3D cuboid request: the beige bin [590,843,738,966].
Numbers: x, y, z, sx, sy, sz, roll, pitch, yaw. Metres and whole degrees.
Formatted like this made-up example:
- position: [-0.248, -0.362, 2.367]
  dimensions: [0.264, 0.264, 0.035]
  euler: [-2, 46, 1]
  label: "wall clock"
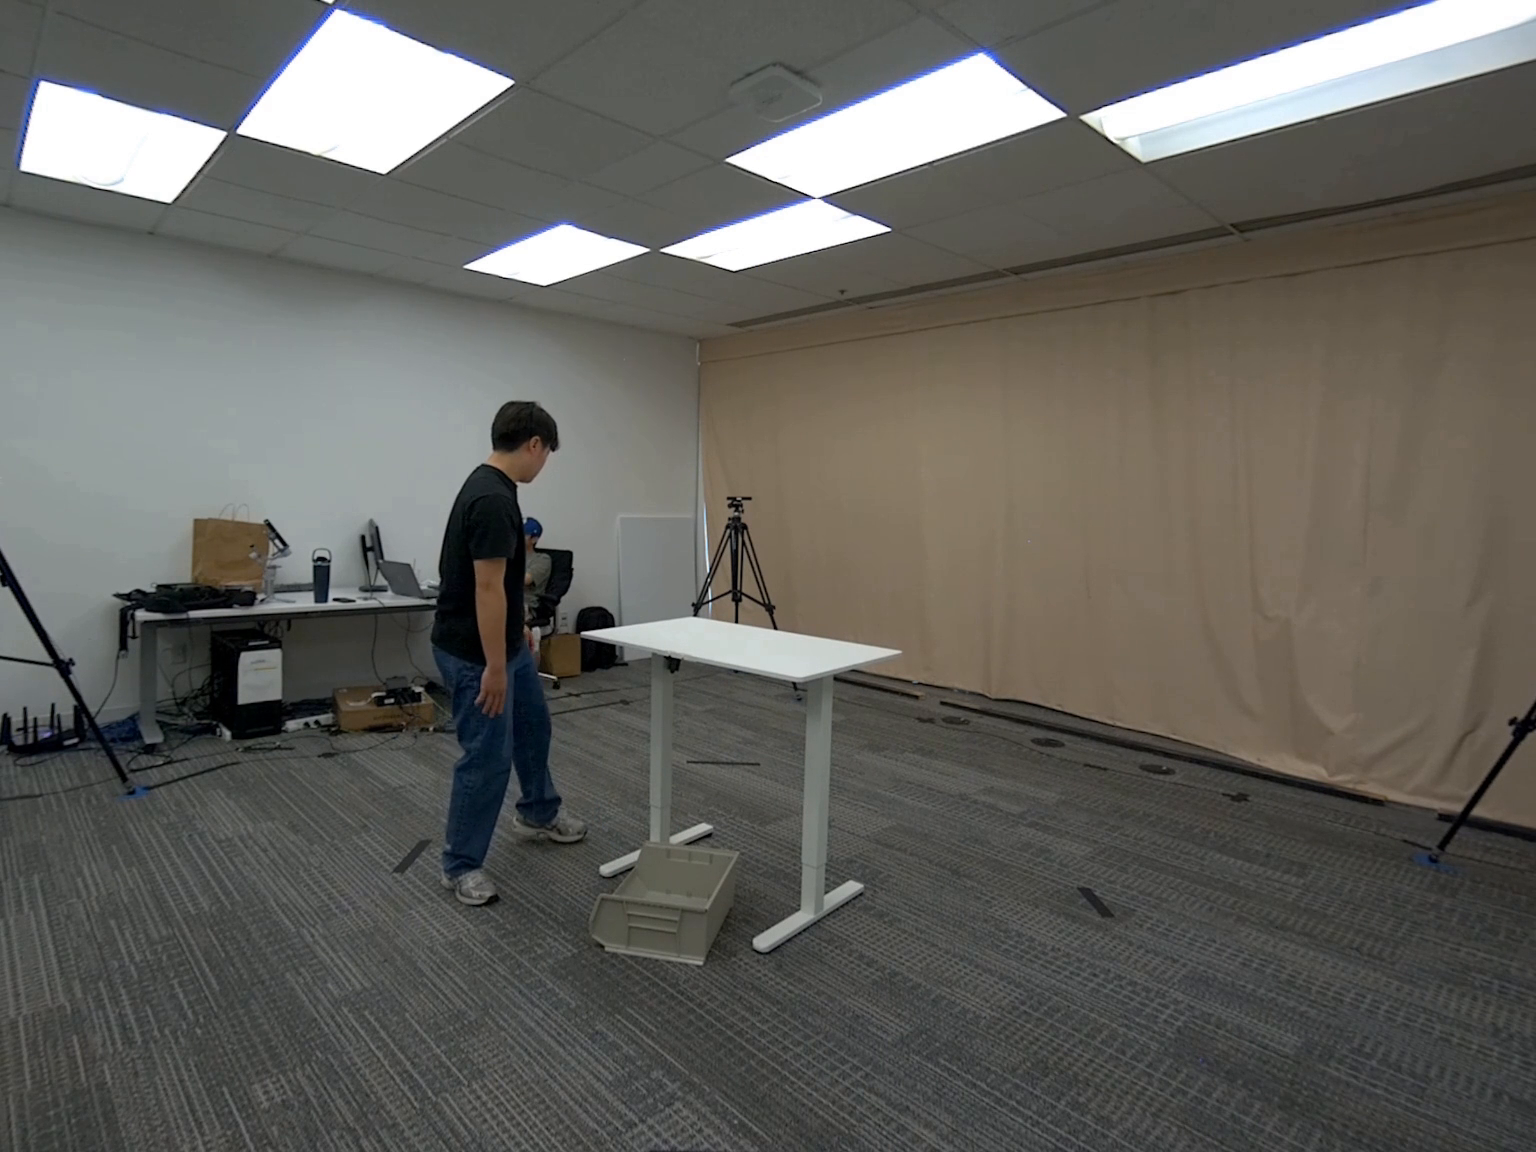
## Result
- position: [-0.326, 1.051, 2.728]
  dimensions: [0.381, 0.188, 0.419]
  euler: [2, 5, 13]
  label: "beige bin"
